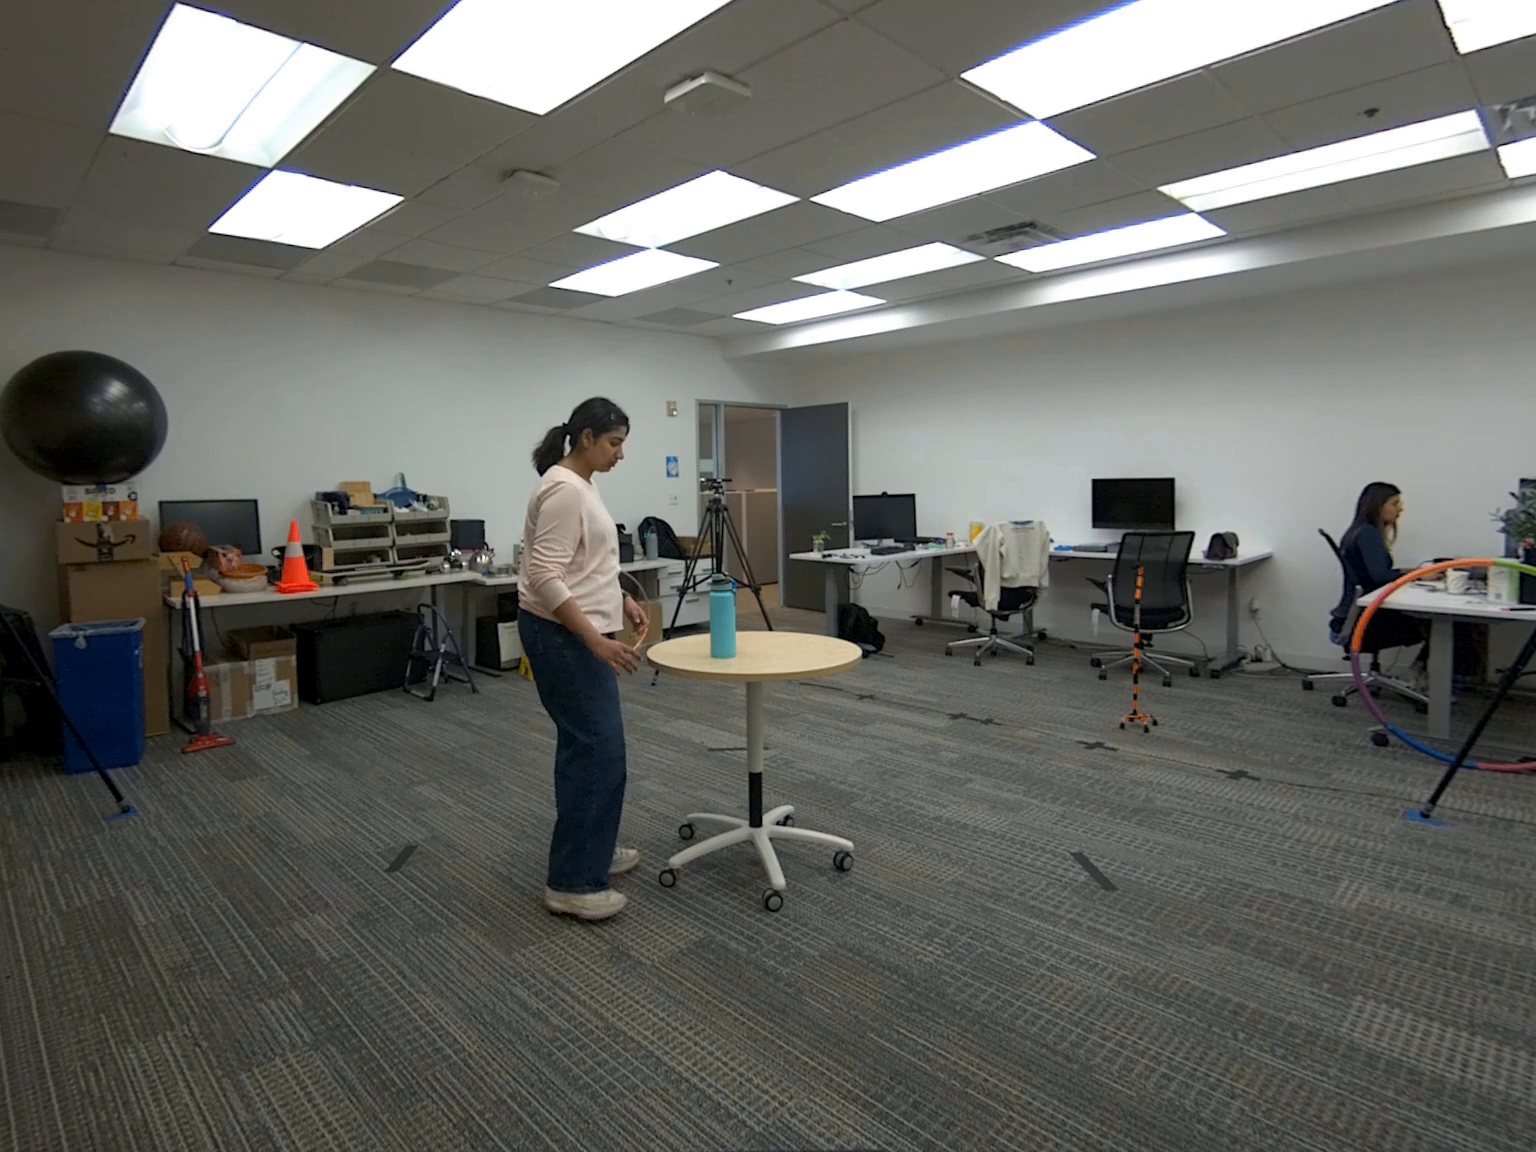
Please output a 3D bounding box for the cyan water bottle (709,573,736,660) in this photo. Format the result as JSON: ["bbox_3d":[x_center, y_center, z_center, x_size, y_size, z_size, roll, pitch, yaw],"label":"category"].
[{"bbox_3d":[-0.155,0.136,2.952,0.092,0.282,0.093,0,4,-2],"label":"cyan water bottle"}]
